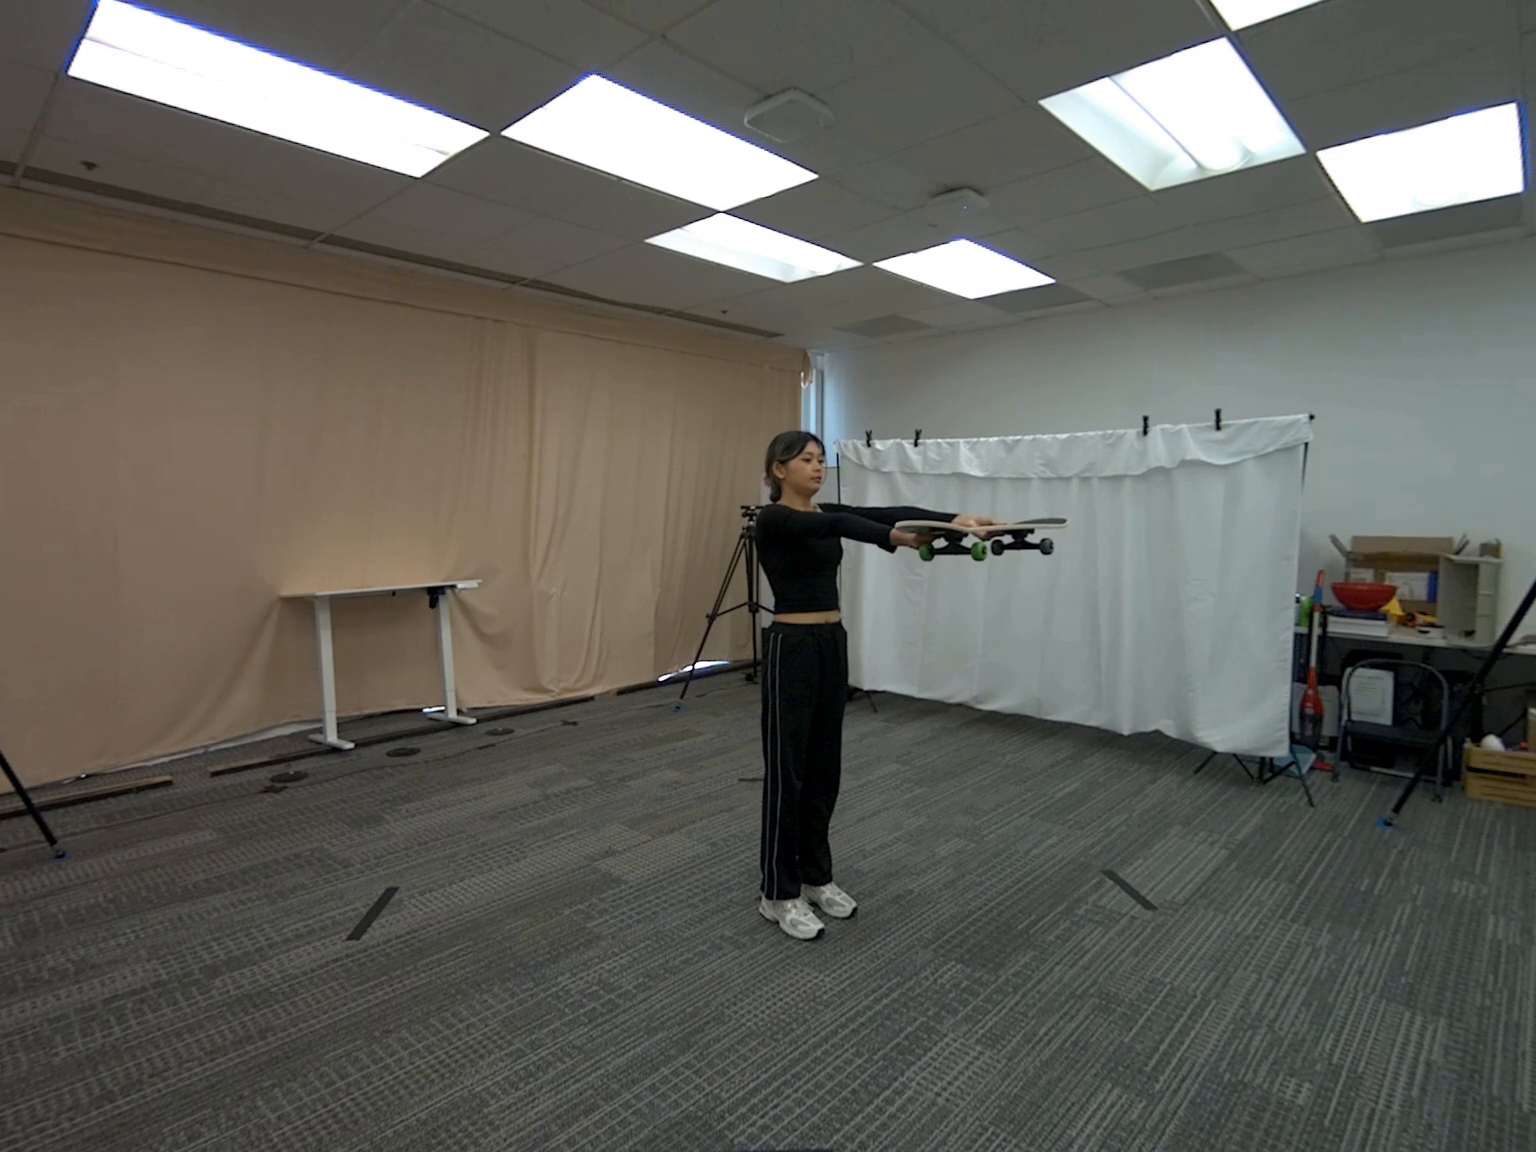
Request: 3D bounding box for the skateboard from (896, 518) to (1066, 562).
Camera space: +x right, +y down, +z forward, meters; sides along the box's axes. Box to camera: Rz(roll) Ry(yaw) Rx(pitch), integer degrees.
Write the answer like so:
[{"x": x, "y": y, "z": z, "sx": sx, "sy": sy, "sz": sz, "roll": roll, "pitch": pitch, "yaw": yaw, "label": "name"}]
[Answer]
[{"x": 0.633, "y": -0.109, "z": 2.376, "sx": 0.200, "sy": 0.110, "sz": 0.761, "roll": 1, "pitch": 4, "yaw": 44, "label": "skateboard"}]
